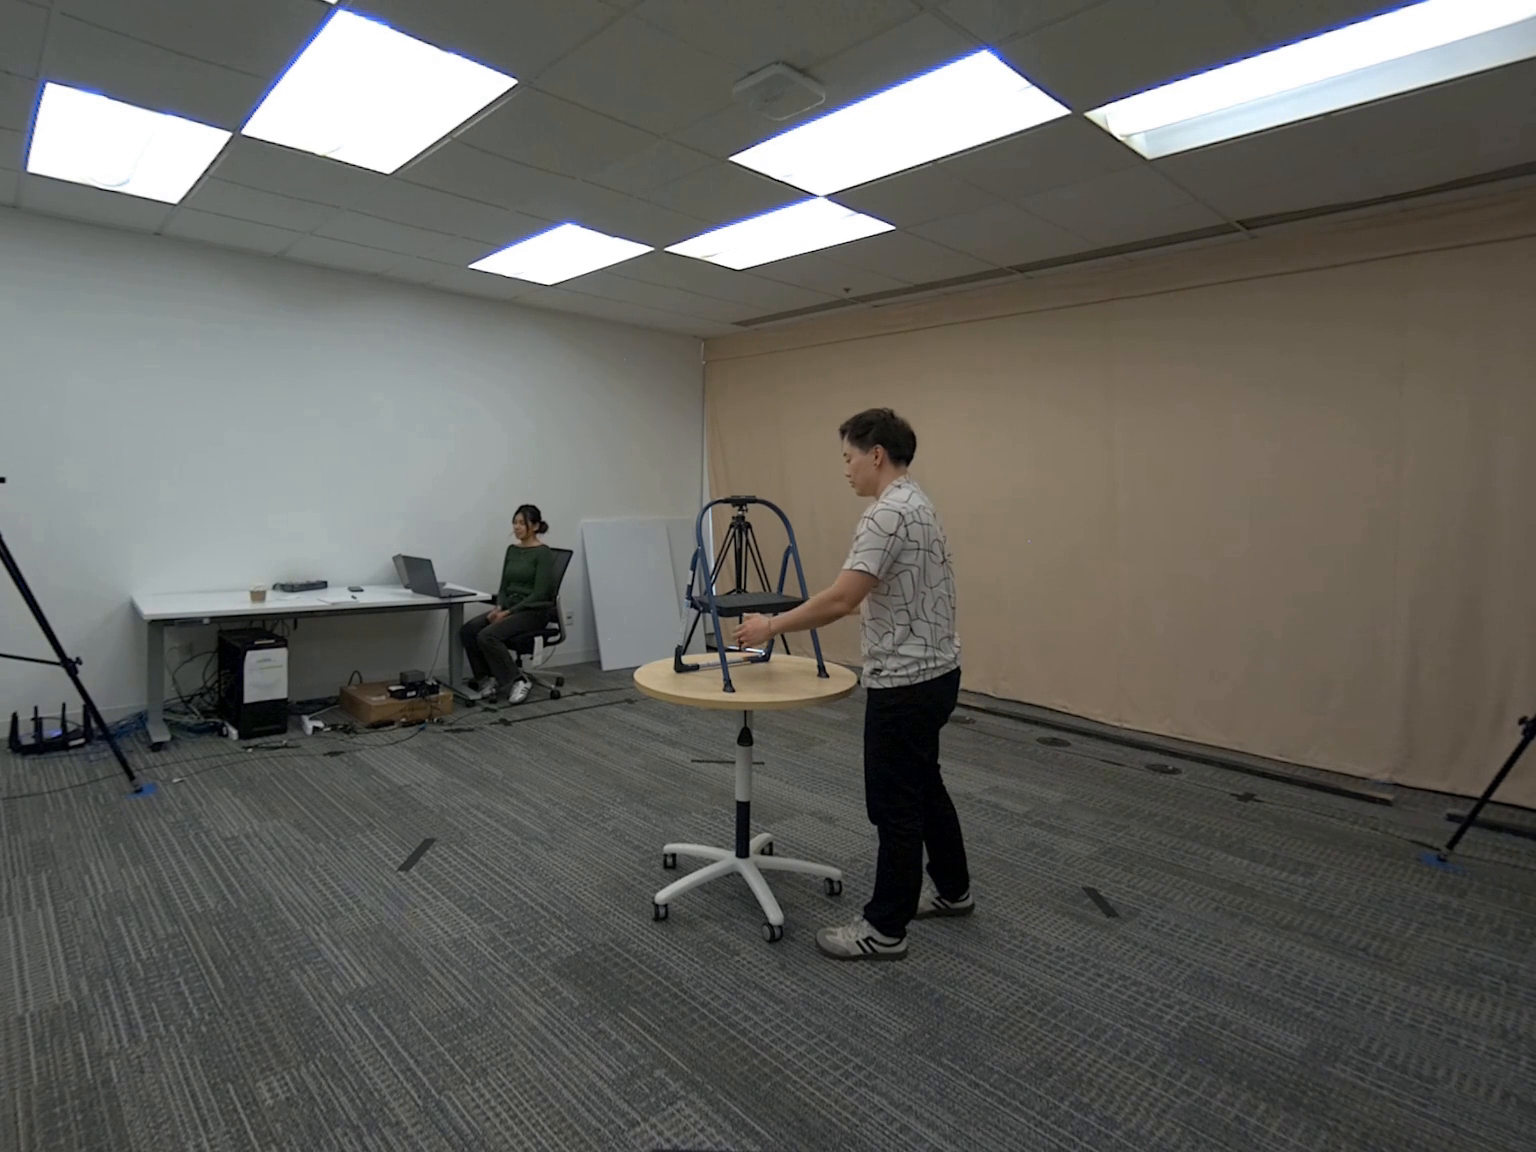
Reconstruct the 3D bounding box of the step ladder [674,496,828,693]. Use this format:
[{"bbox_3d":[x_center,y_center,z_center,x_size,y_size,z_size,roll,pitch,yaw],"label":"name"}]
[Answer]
[{"bbox_3d":[-0.059,0.039,2.867,0.421,0.604,0.358,-2,5,-37],"label":"step ladder"}]
